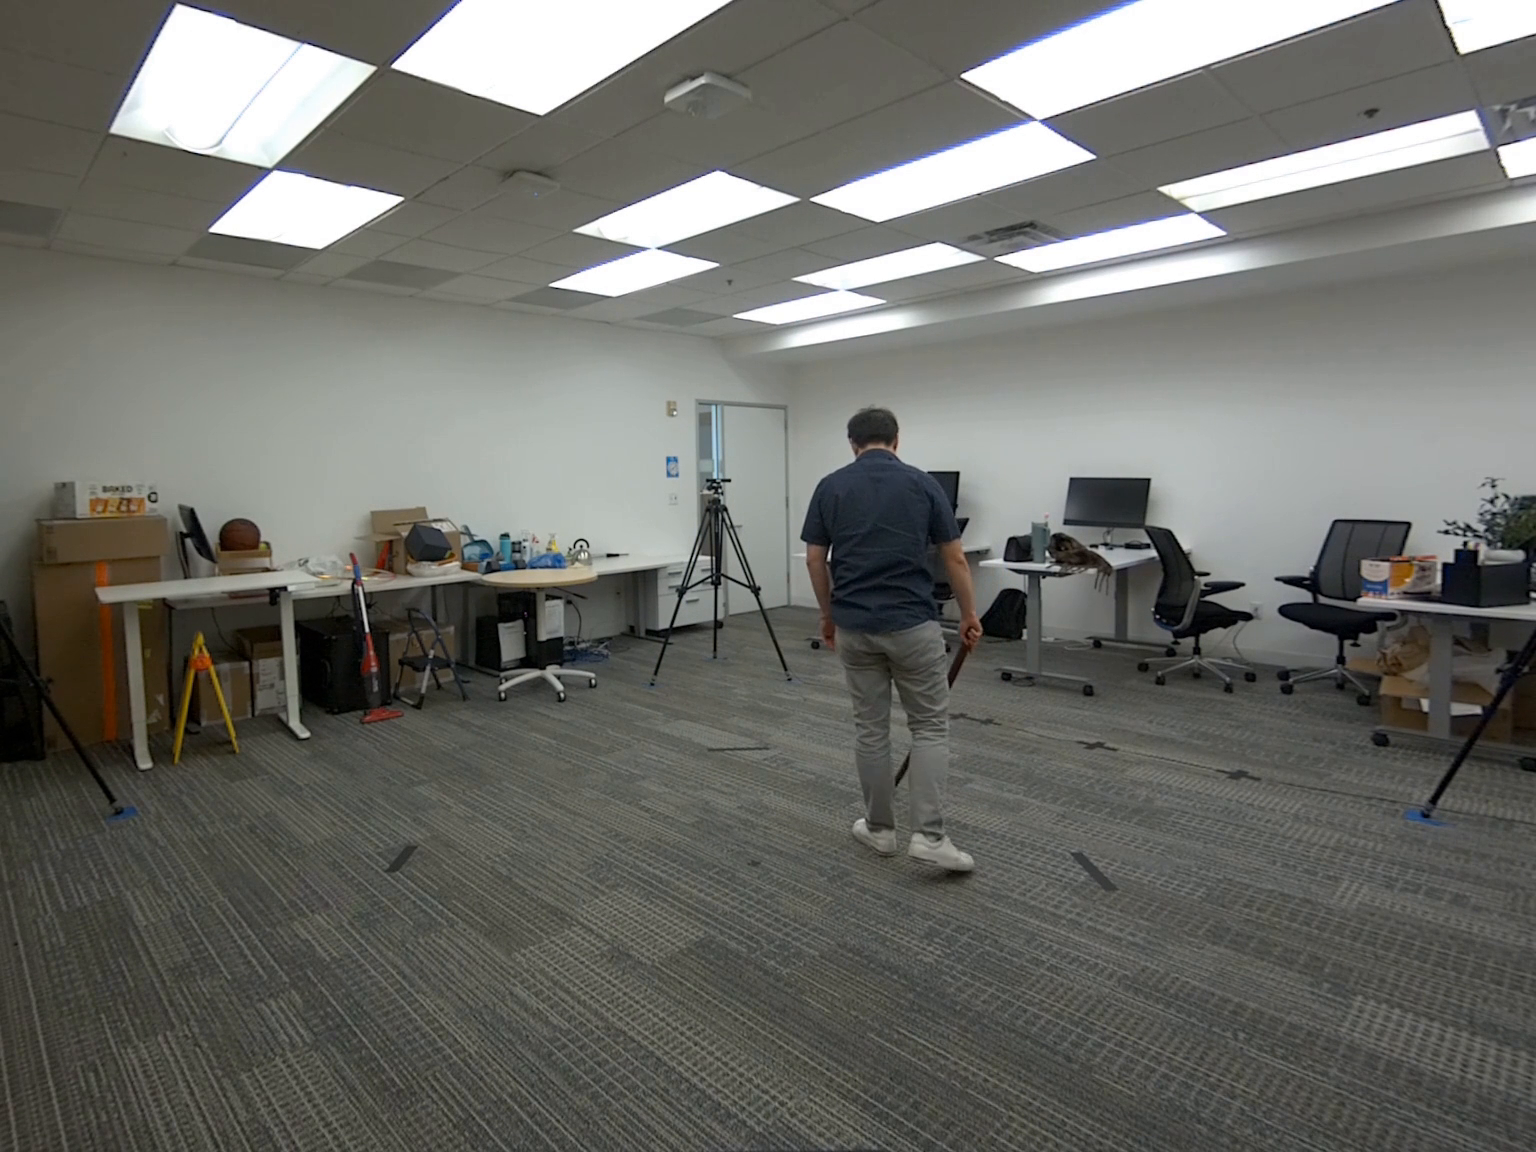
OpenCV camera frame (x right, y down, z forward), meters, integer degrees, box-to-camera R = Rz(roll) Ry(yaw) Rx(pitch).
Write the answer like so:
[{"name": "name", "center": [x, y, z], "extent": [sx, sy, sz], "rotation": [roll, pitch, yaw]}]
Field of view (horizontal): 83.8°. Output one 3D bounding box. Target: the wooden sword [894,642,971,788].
[{"name": "wooden sword", "center": [0.664, 0.600, 3.496], "extent": [0.023, 1.007, 0.053], "rotation": [-9, 49, -29]}]
